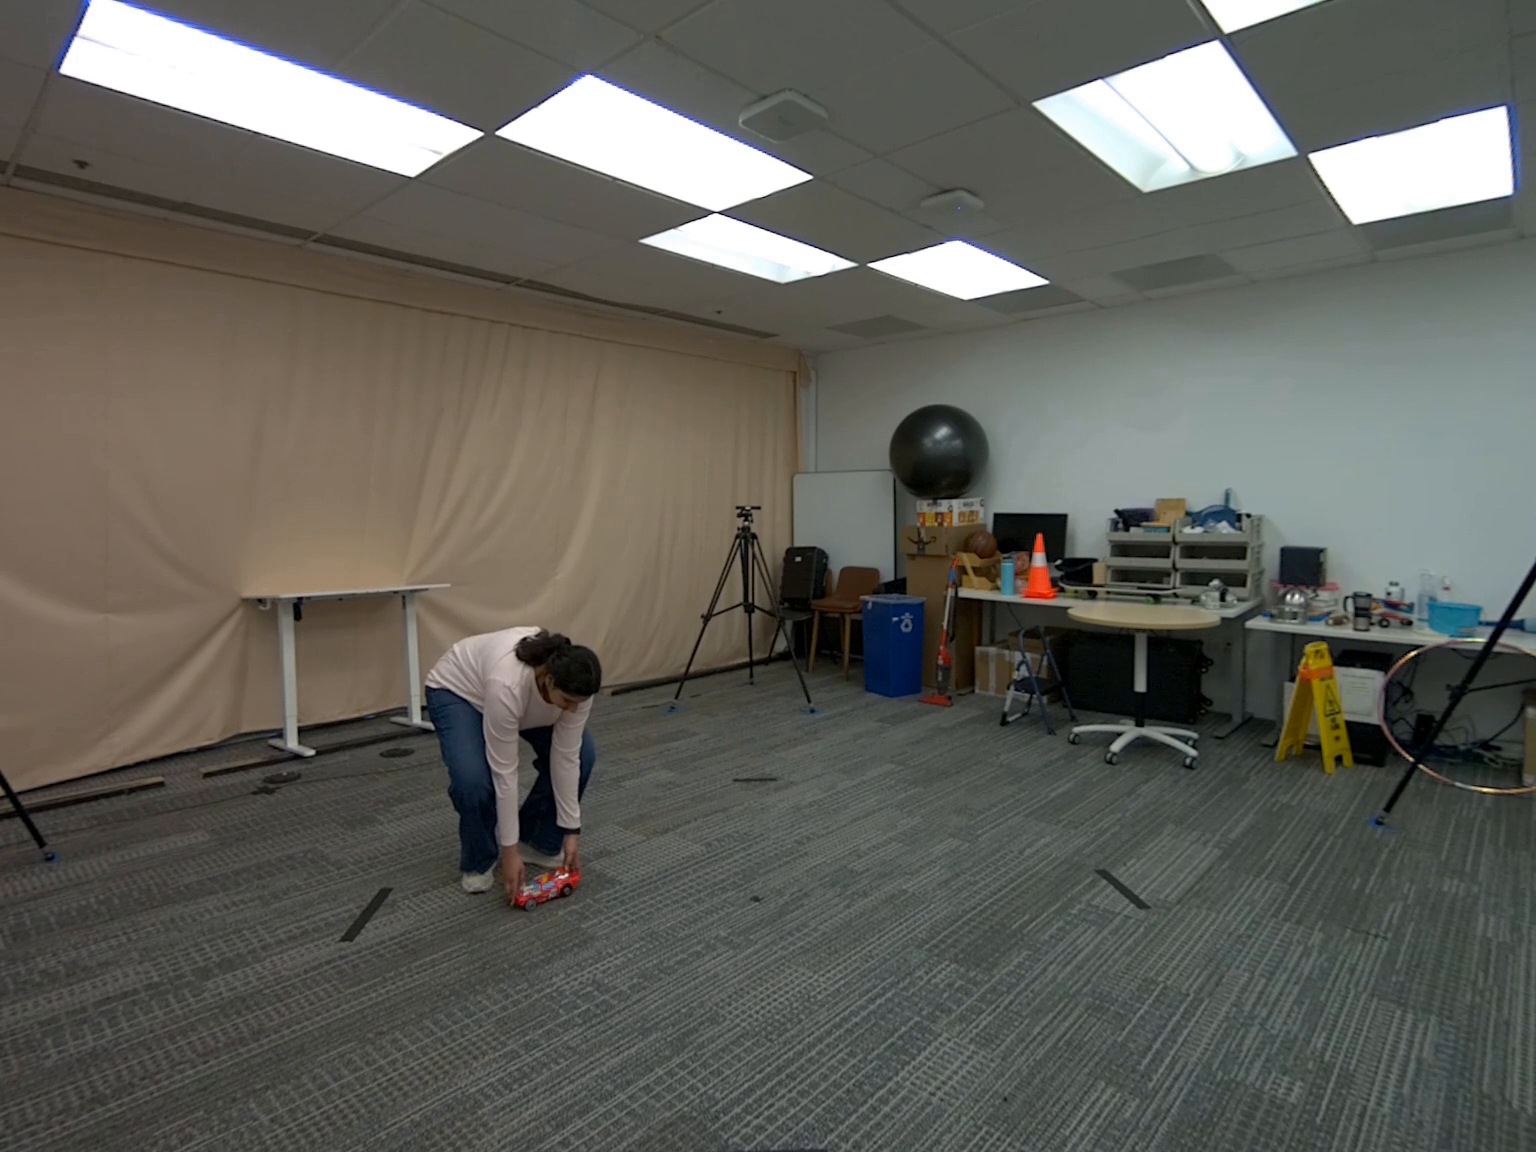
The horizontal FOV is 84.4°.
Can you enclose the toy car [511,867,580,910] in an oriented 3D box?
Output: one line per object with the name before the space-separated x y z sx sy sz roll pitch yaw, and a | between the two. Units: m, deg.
toy car | -0.788 1.113 3.008 0.248 0.082 0.134 -17 13 -41
